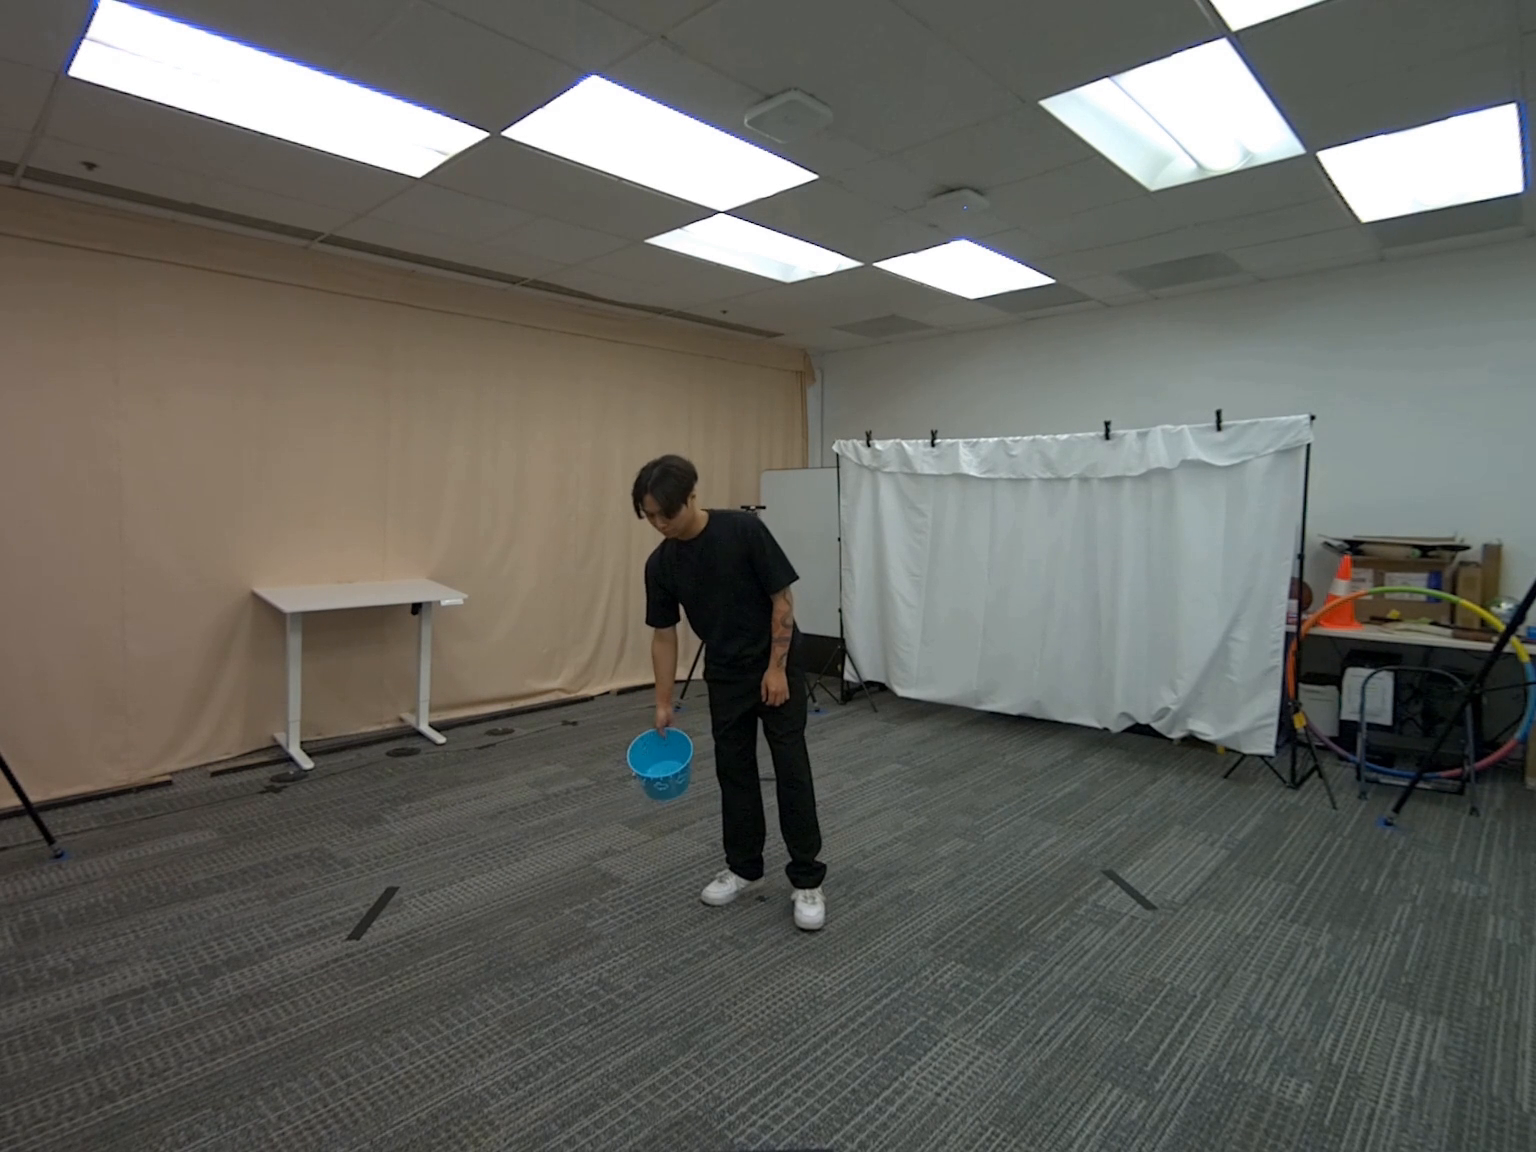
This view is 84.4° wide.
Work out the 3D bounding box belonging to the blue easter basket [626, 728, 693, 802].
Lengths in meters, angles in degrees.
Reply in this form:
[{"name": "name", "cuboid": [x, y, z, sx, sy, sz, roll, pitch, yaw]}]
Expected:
[{"name": "blue easter basket", "cuboid": [-0.372, 0.678, 3.002, 0.244, 0.152, 0.248, -6, 35, 2]}]
